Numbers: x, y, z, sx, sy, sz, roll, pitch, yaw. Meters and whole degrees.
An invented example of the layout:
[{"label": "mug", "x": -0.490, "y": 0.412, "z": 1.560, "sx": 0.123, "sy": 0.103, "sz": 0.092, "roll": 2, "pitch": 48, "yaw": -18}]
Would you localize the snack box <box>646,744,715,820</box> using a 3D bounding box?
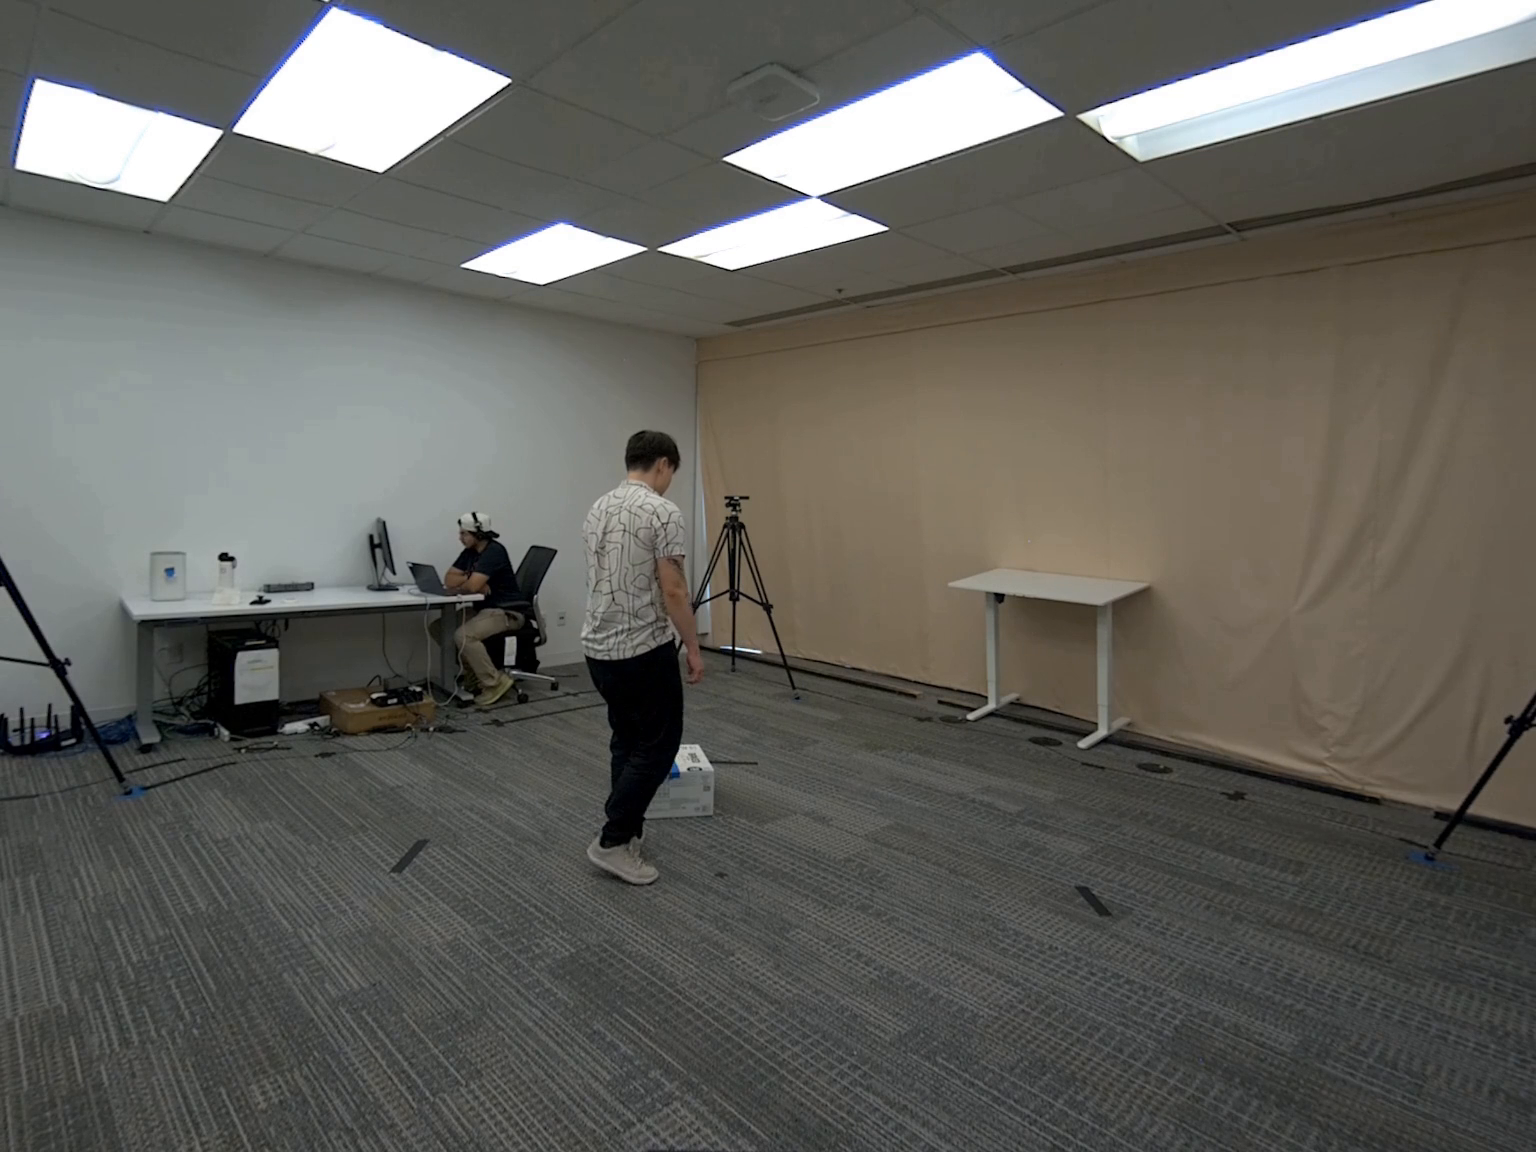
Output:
[{"label": "snack box", "x": -0.459, "y": 0.930, "z": 3.837, "sx": 0.337, "sy": 0.205, "sz": 0.410, "roll": 0, "pitch": 5, "yaw": -13}]
